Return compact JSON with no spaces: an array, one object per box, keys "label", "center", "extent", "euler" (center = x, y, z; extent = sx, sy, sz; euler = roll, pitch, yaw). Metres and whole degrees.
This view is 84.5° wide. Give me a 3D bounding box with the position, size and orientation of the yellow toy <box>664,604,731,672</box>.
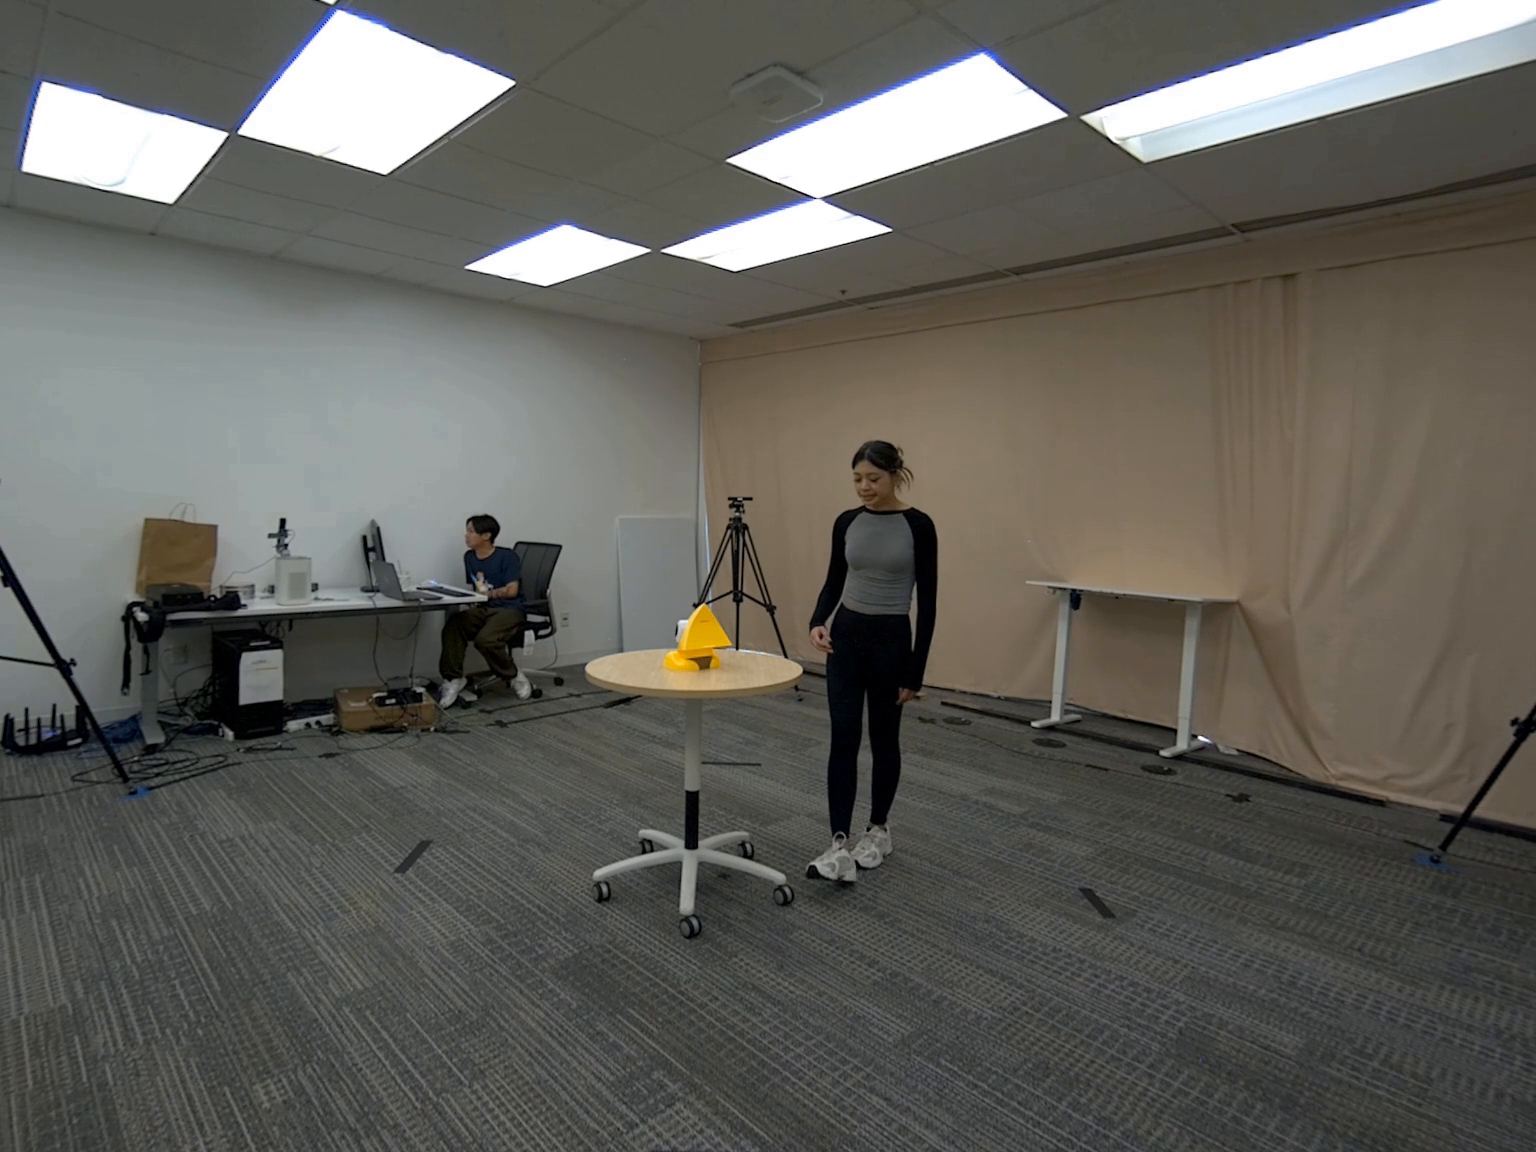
[{"label":"yellow toy","center":[-0.273,0.208,2.989],"extent":[0.200,0.230,0.198],"euler":[-2,5,-40]}]
